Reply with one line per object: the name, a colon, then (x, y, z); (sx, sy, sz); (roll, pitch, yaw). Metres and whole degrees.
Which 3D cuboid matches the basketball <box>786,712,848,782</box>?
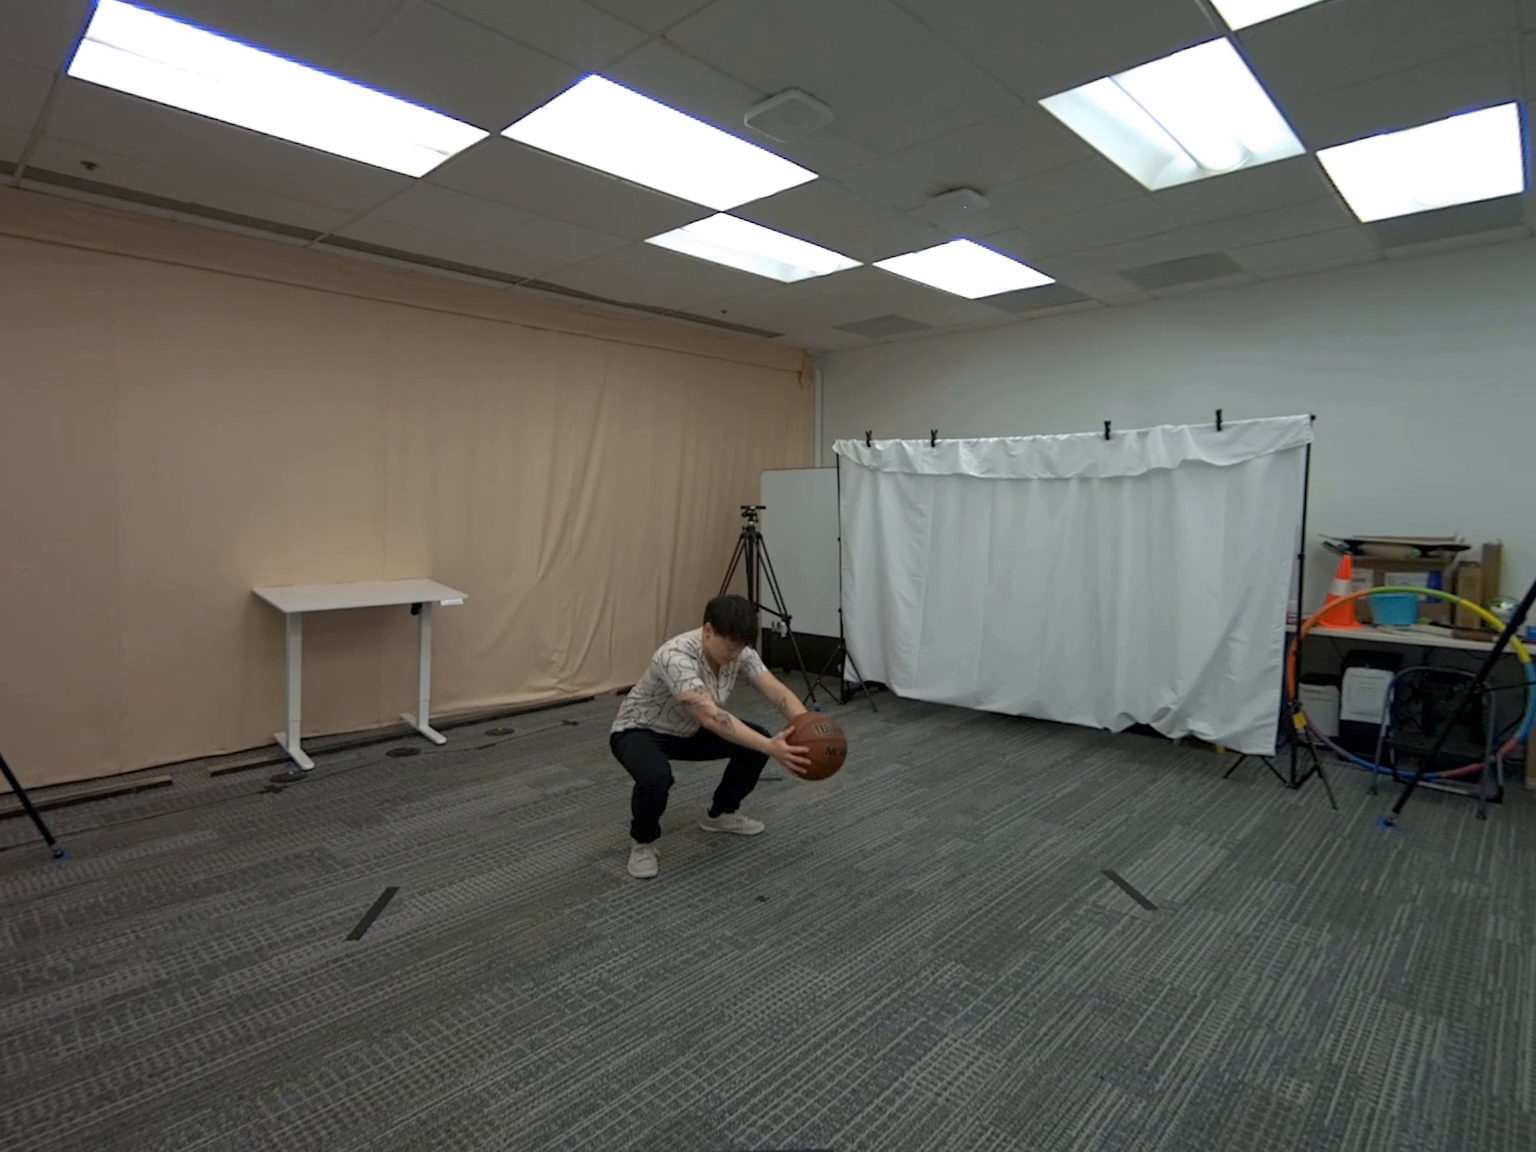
basketball: (0.161, 0.602, 2.967); (0.236, 0.235, 0.237); (0, 4, -2)
